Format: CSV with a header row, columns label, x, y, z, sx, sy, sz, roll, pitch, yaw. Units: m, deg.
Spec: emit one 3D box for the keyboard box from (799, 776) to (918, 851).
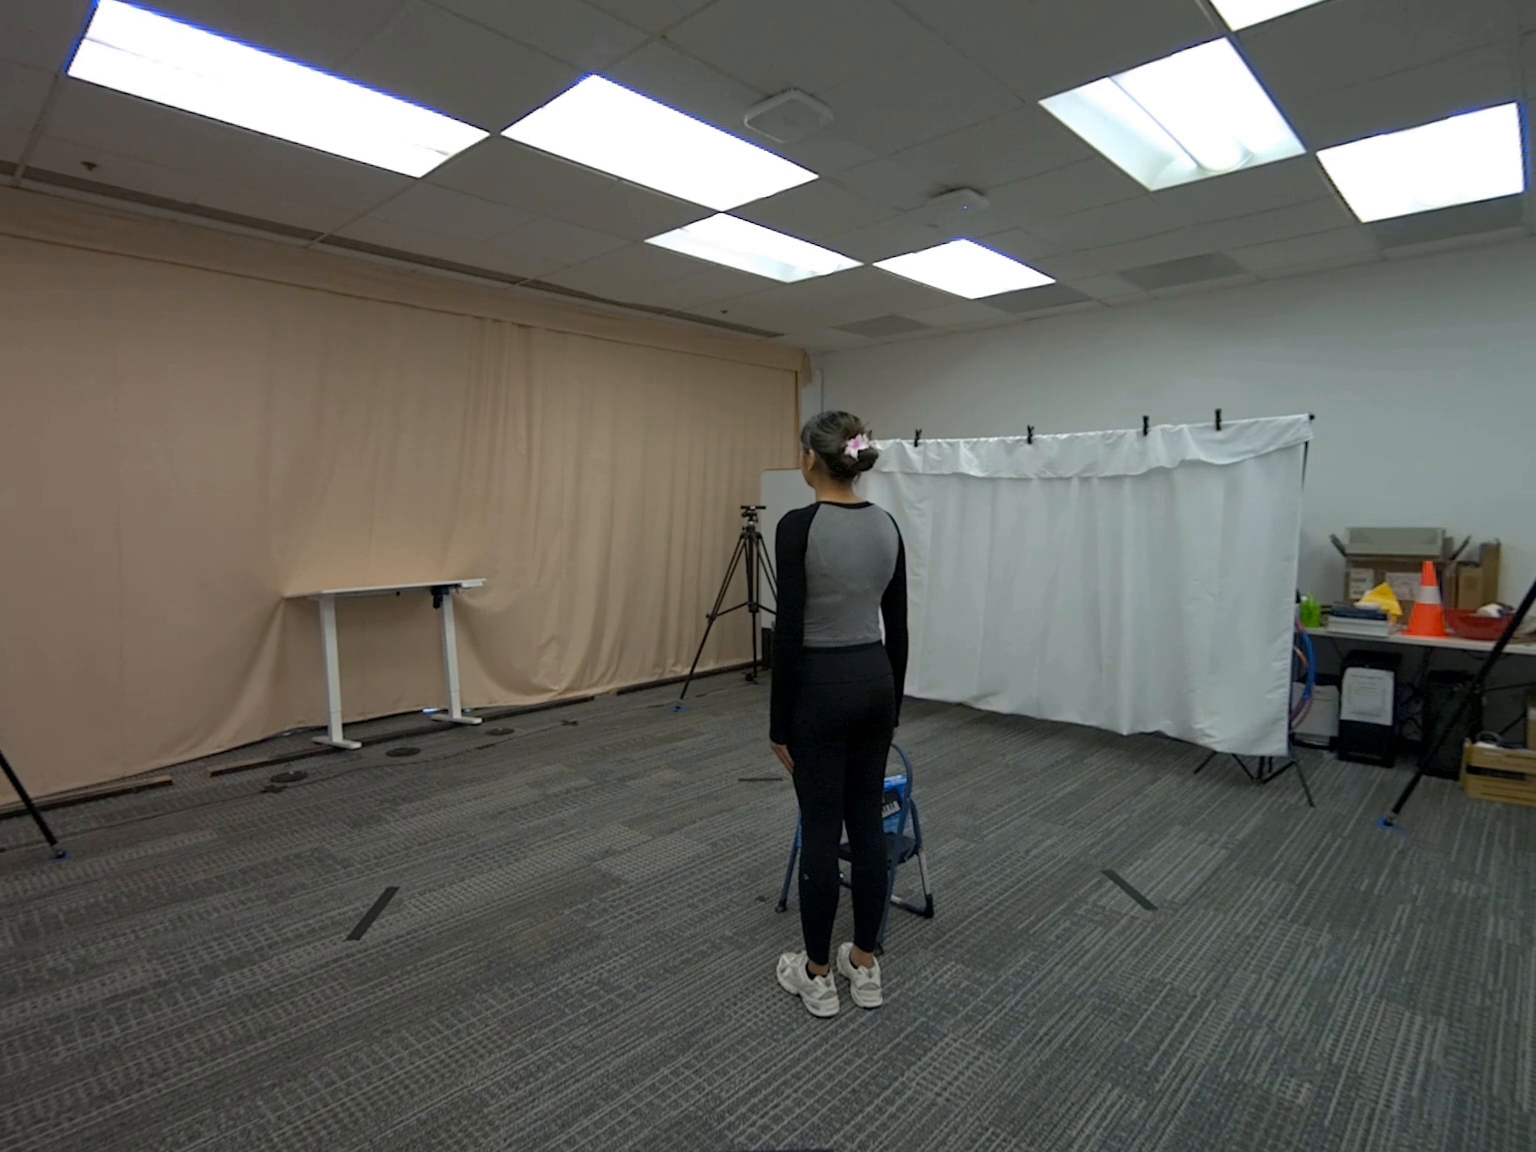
label,x,y,z,sx,sy,sz,roll,pitch,yaw
keyboard box,0.308,0.804,2.850,0.425,0.175,0.061,-4,10,-29
